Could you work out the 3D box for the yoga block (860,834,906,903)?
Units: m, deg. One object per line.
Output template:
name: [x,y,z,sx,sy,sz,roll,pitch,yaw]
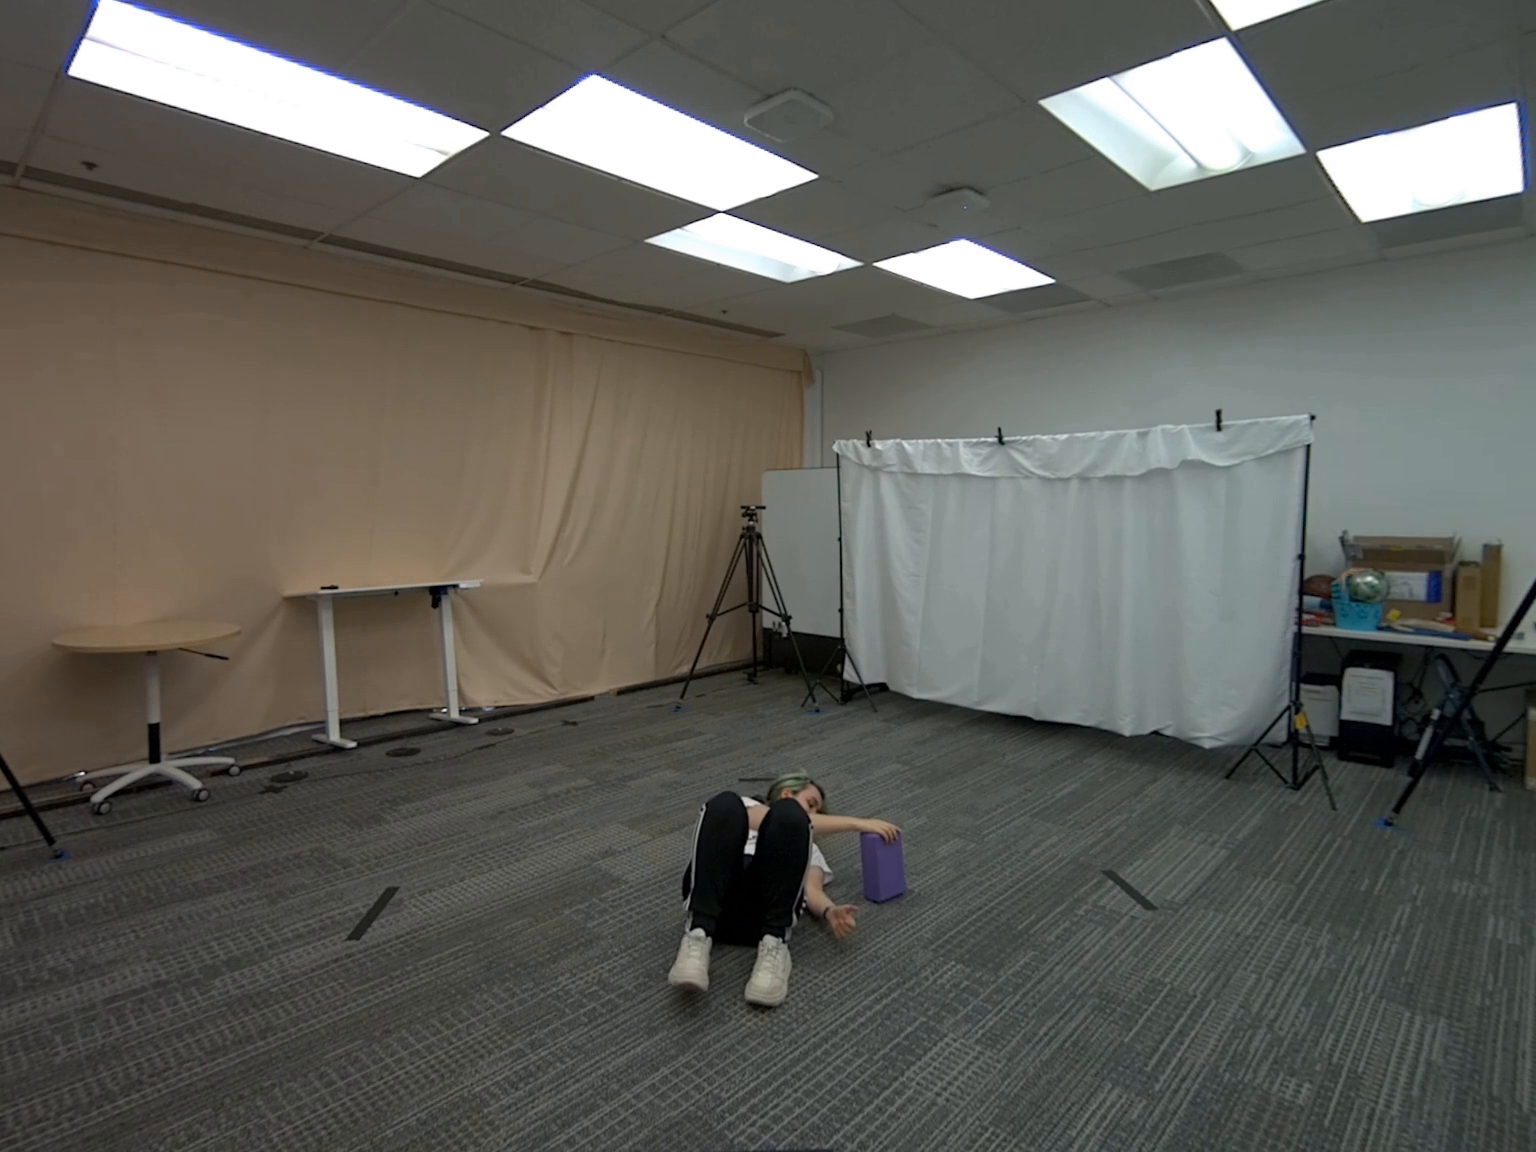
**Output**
yoga block: [0.414,1.021,2.991,0.144,0.230,0.078,-2,-4,-39]
